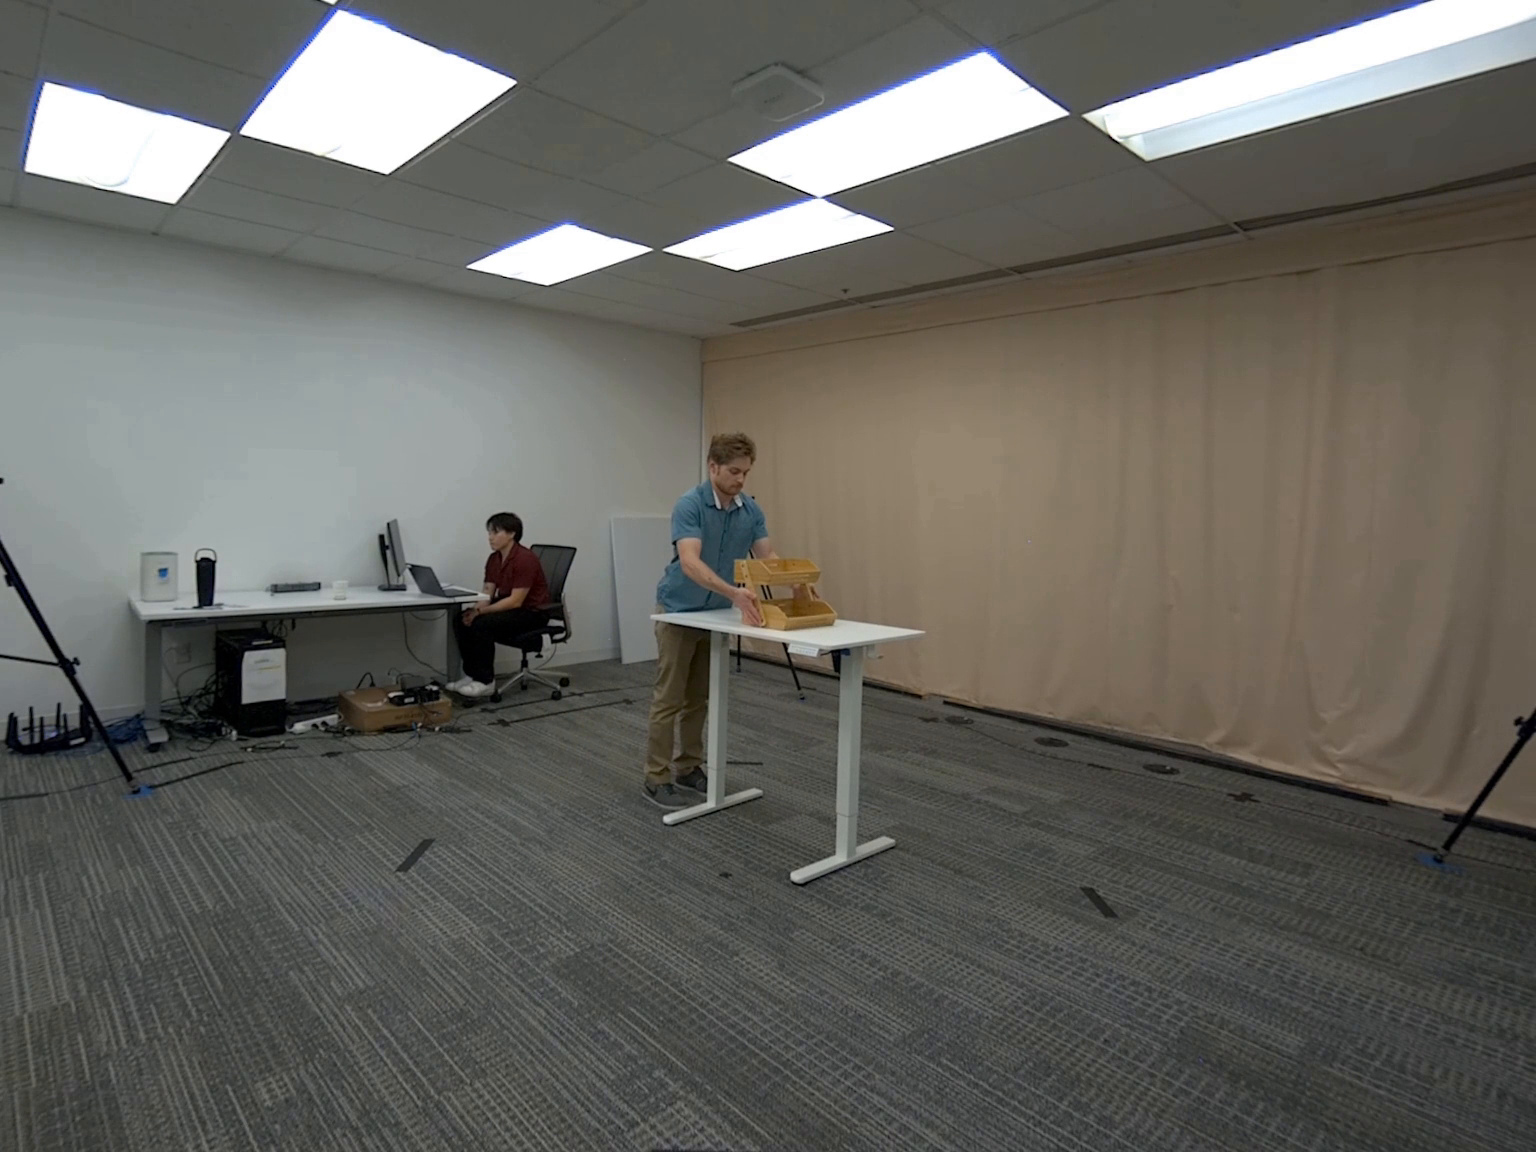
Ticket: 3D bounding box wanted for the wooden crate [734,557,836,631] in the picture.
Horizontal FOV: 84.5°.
[{"bbox_3d":[0.068,0.065,3.431,0.317,0.273,0.309,-2,4,-44],"label":"wooden crate"}]
